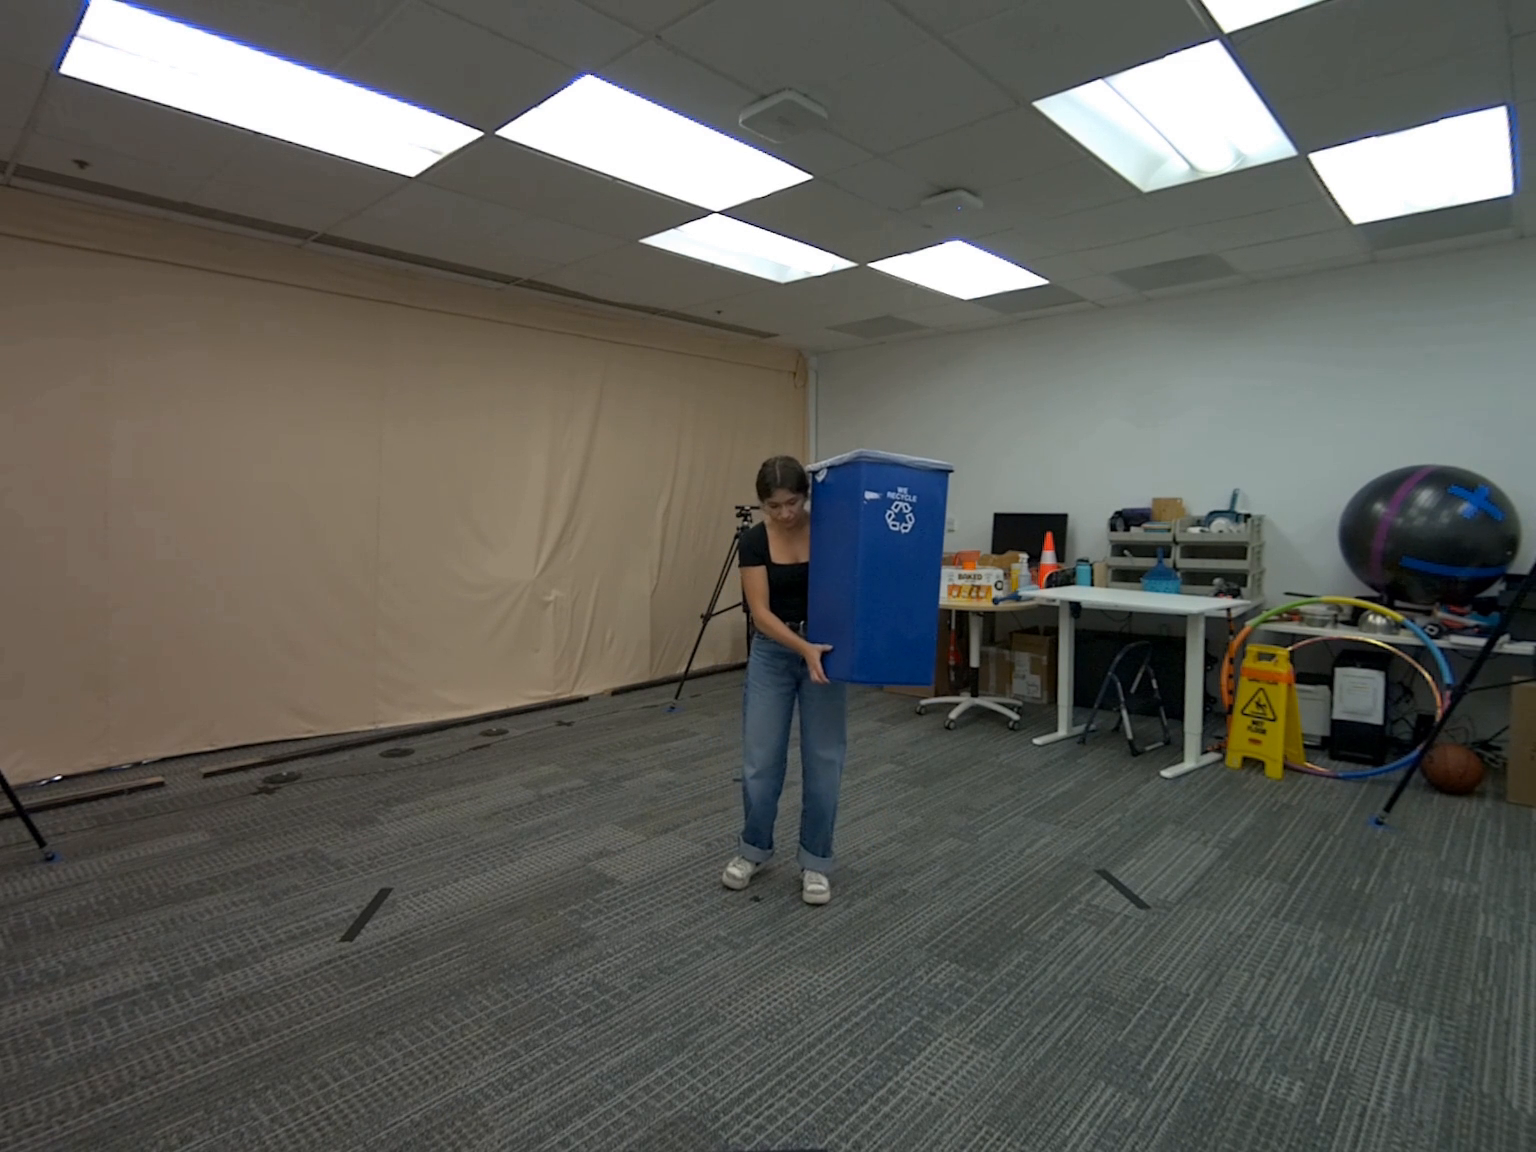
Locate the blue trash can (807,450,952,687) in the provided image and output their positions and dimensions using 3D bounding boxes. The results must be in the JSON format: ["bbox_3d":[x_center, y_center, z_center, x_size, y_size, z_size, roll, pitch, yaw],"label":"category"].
[{"bbox_3d":[0.358,-0.017,2.767,0.365,0.715,0.386,4,-5,-24],"label":"blue trash can"}]
